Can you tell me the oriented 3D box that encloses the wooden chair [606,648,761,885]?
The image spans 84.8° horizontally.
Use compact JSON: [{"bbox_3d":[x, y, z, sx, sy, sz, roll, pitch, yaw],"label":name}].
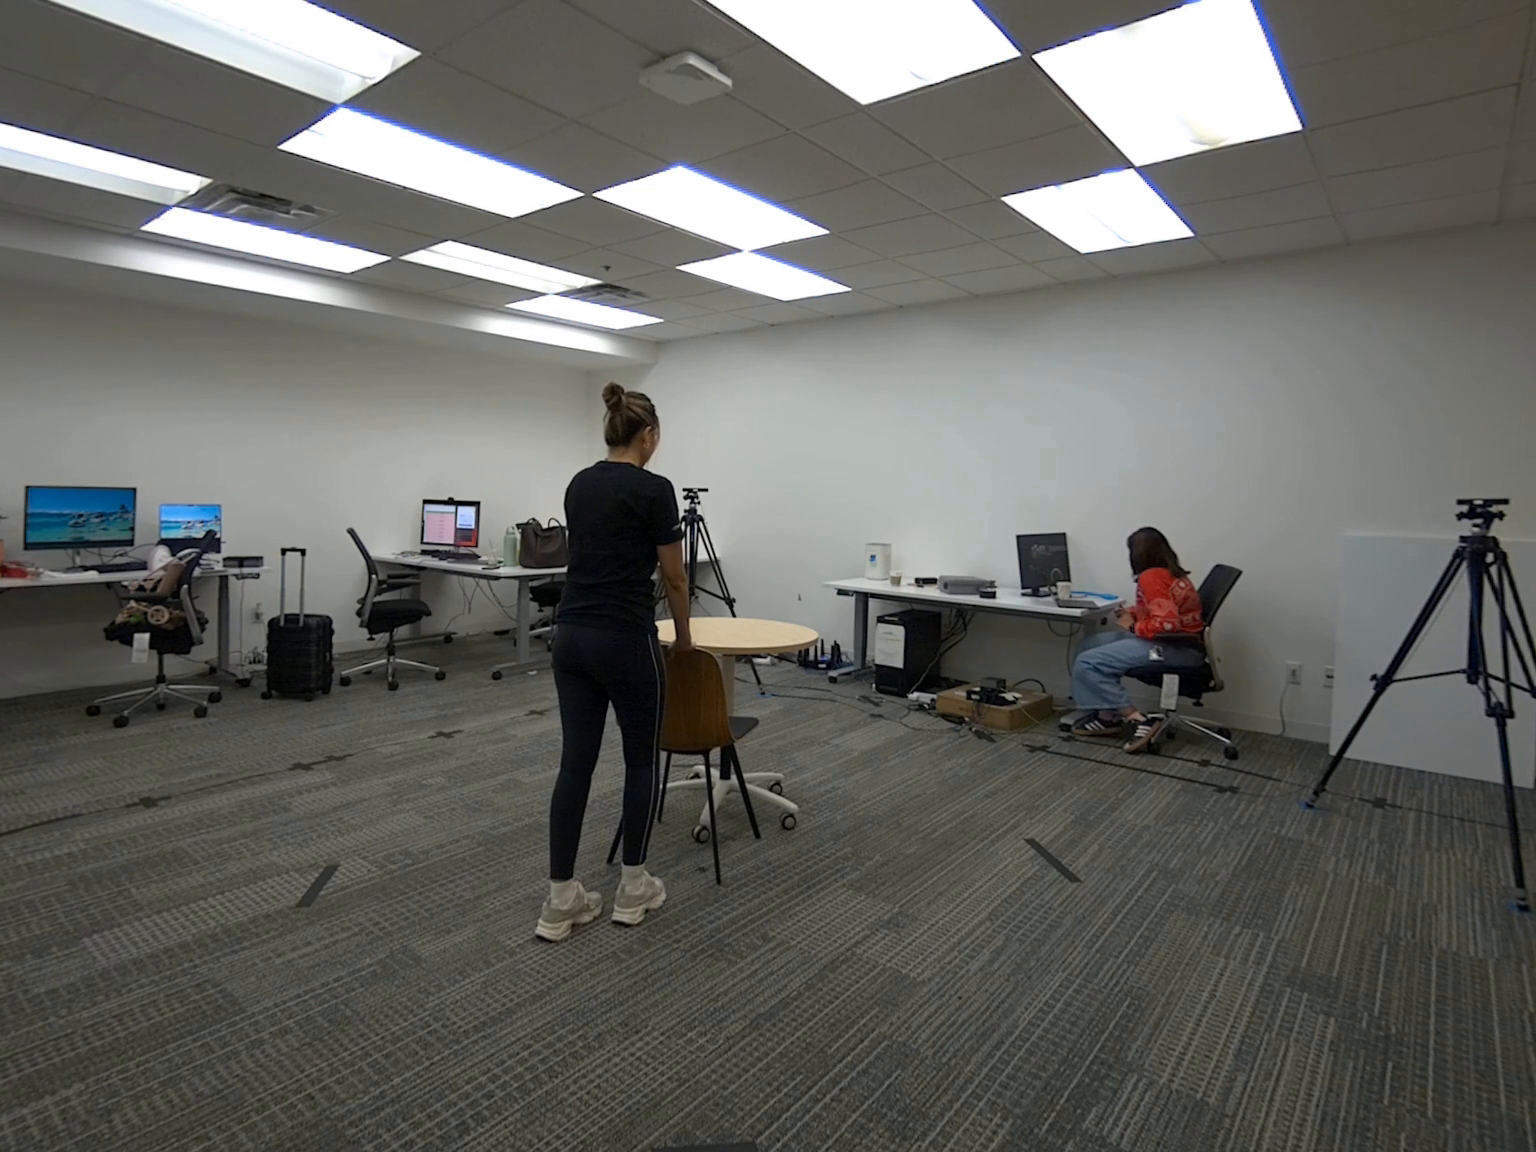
[{"bbox_3d":[-0.311,0.627,3.252,0.488,0.872,0.515,1,7,20],"label":"wooden chair"}]
